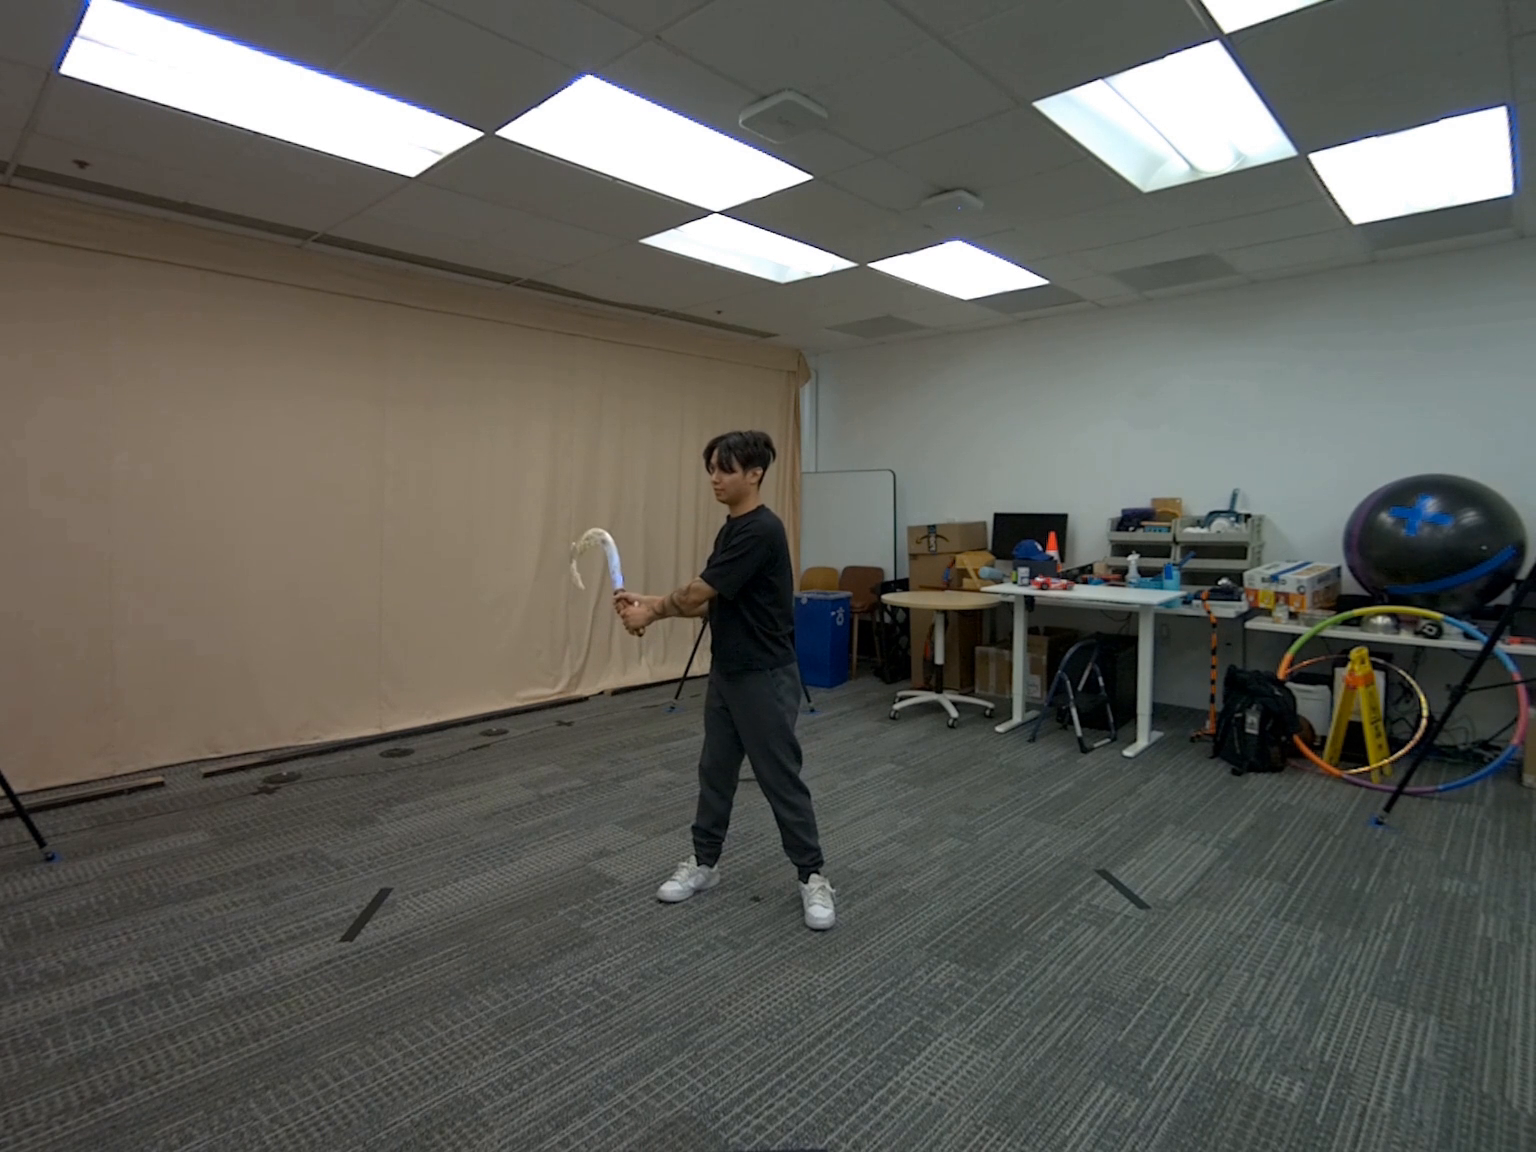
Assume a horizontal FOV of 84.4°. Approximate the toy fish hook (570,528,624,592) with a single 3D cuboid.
[{"bbox_3d":[-0.604,0.065,3.084,0.226,0.521,0.047,-43,-30,19],"label":"toy fish hook"}]
